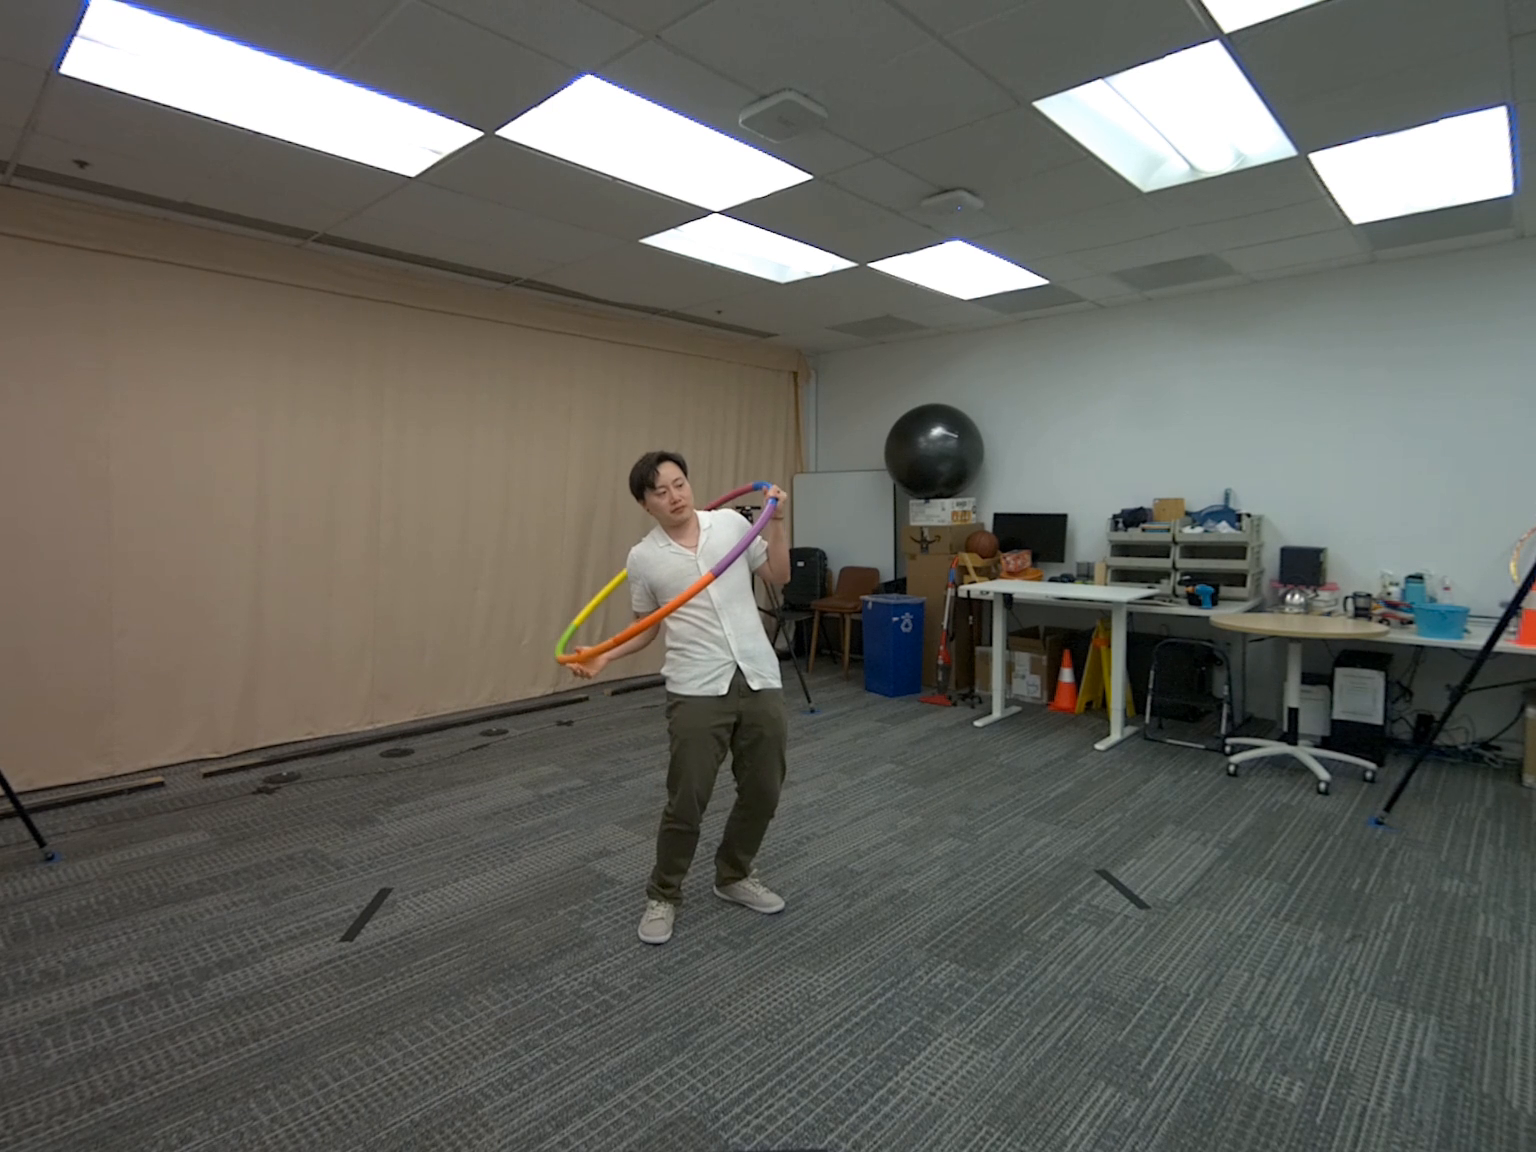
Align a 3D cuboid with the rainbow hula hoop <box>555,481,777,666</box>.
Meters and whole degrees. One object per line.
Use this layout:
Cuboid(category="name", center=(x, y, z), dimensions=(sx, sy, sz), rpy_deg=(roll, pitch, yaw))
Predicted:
Cuboid(category="rainbow hula hoop", center=(-0.352, -0.019, 3.030), dimensions=(0.983, 0.035, 0.991), rpy_deg=(-36, 18, 9))
